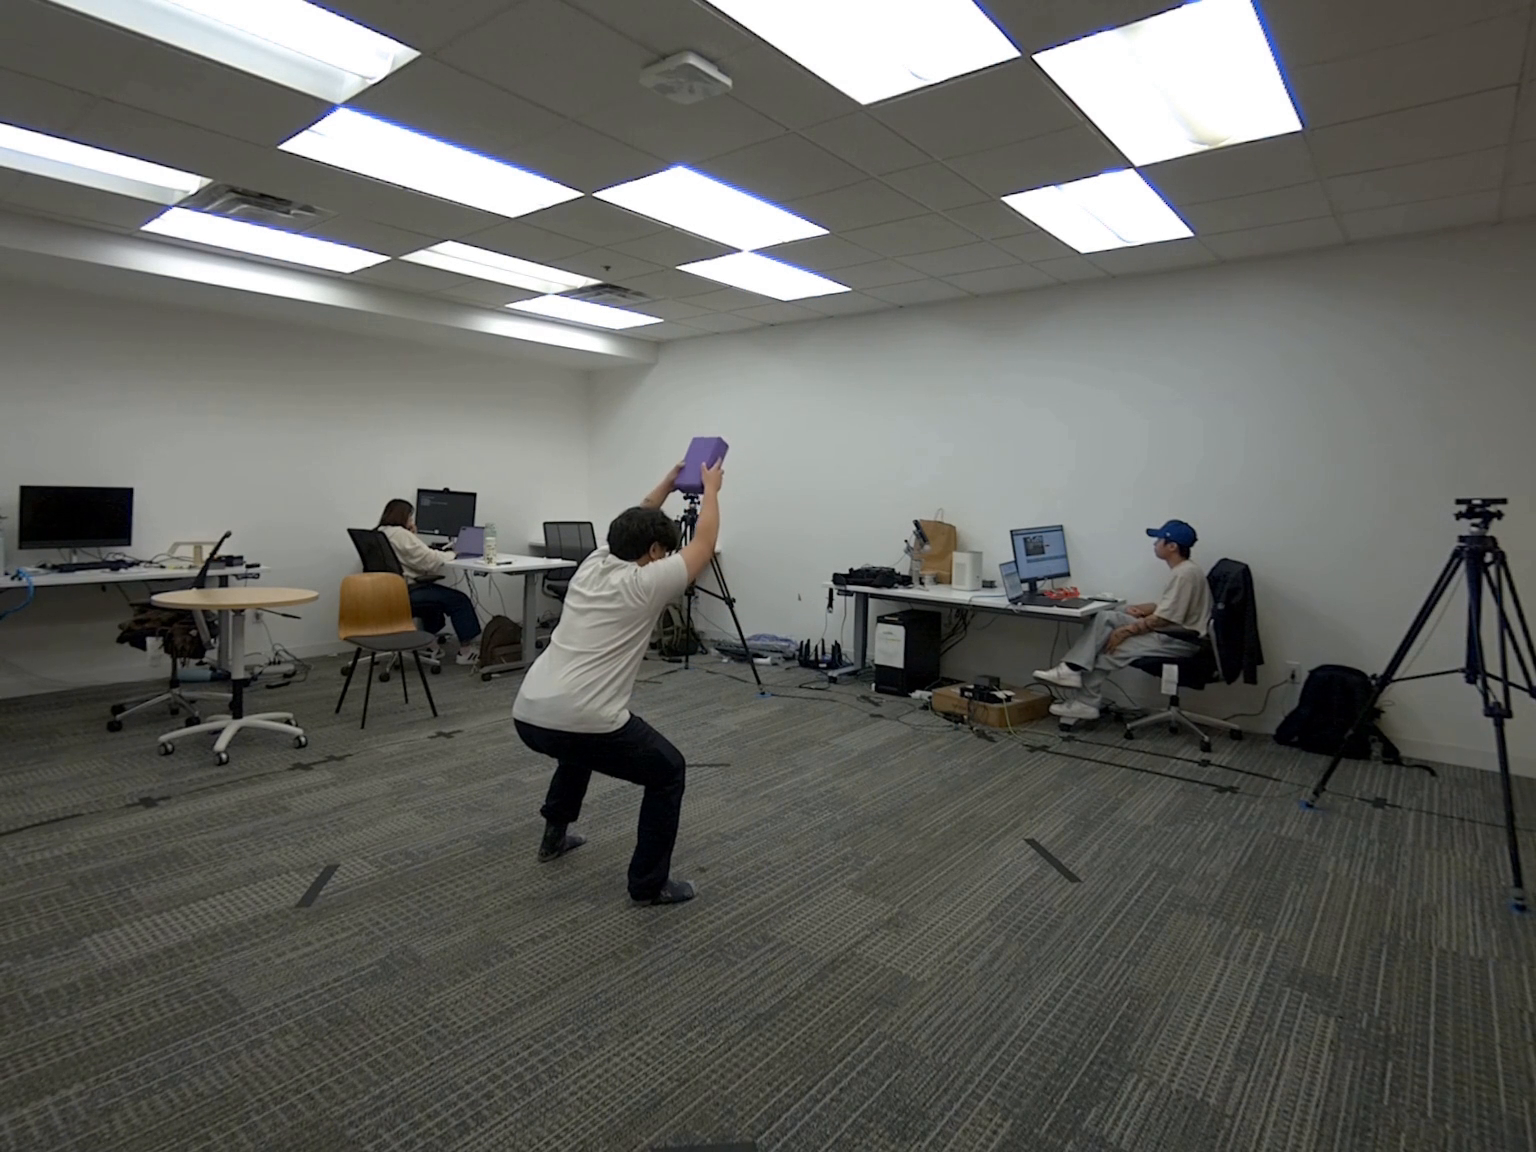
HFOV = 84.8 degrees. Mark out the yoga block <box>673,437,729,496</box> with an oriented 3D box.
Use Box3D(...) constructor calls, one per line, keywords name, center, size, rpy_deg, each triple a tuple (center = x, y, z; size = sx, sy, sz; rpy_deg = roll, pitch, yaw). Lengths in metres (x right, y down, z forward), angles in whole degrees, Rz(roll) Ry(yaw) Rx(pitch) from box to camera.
Box3D(name="yoga block", center=(-0.271, -0.431, 3.338), size=(0.154, 0.231, 0.073), rpy_deg=(6, -25, 37))
